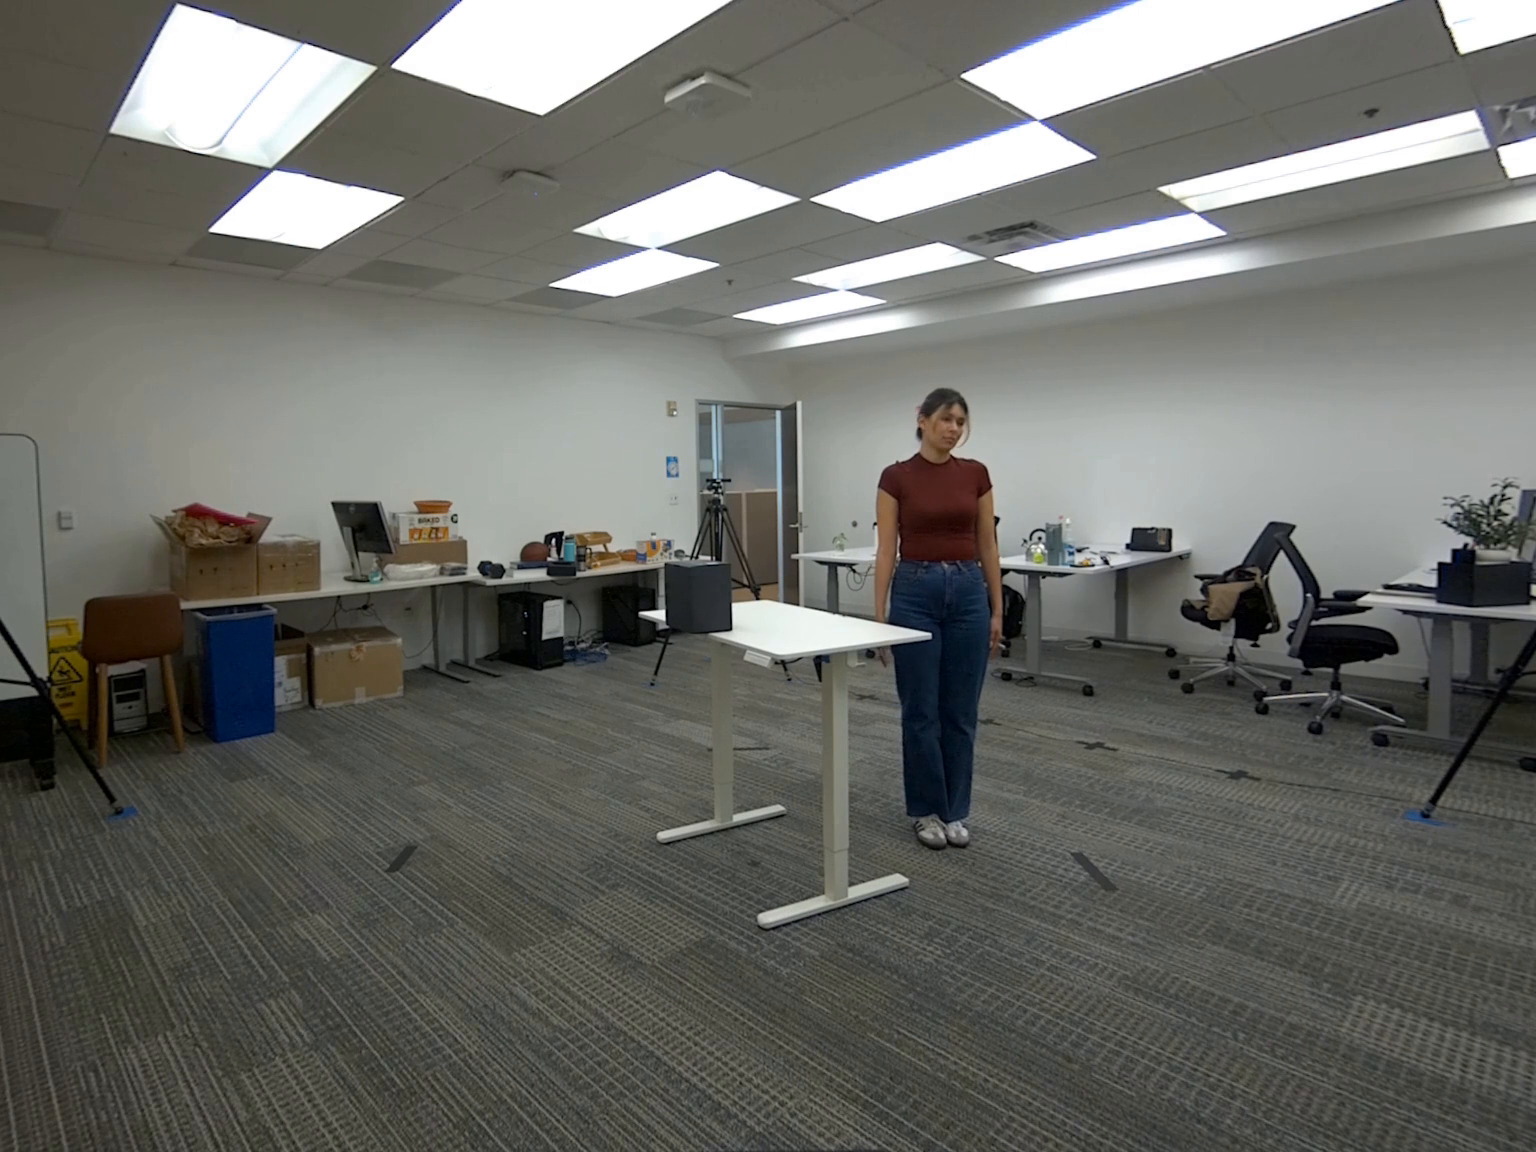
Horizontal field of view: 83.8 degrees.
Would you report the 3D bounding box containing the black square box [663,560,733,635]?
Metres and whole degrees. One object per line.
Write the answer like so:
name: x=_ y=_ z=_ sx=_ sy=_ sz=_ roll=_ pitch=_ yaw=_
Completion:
black square box: x=-0.241 y=0.067 z=2.945 sx=0.152 sy=0.227 sz=0.223 roll=-3 pitch=5 yaw=-30
